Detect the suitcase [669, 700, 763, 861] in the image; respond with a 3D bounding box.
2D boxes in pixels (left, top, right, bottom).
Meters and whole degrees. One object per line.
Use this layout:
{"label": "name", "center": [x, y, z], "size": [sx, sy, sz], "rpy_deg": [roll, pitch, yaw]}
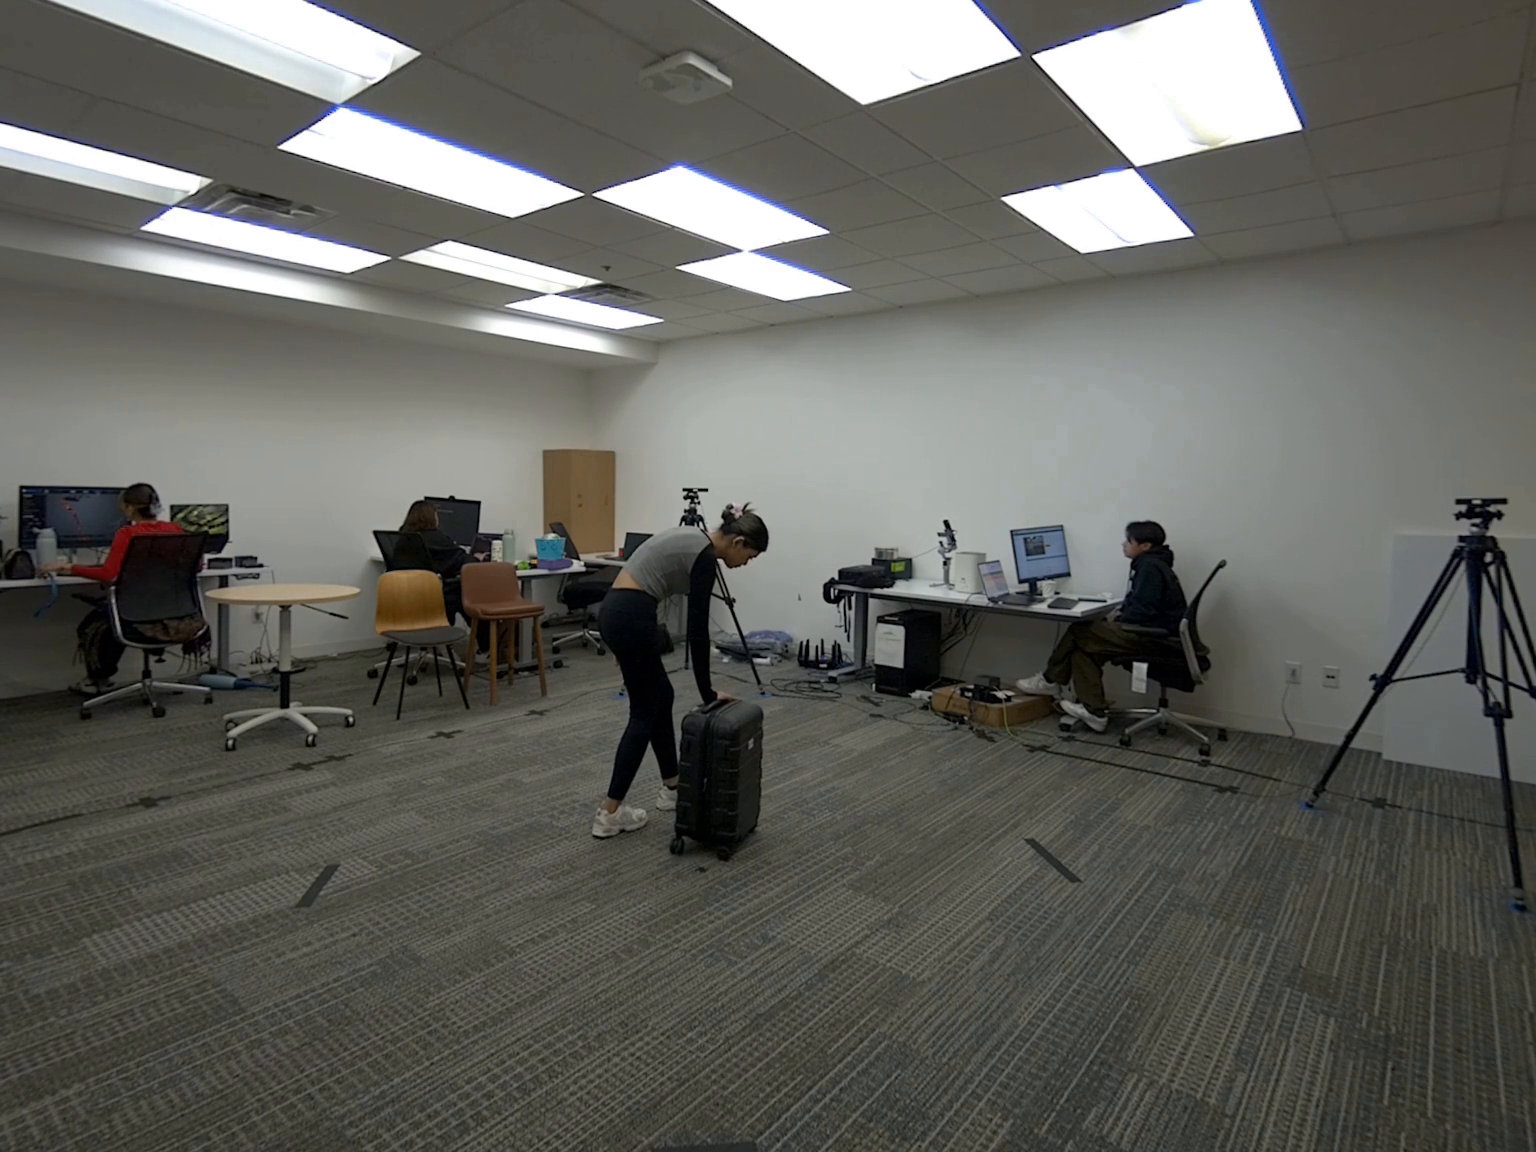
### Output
{"label": "suitcase", "center": [-0.191, 0.770, 3.349], "size": [0.254, 0.548, 0.368], "rpy_deg": [5, 3, 19]}
